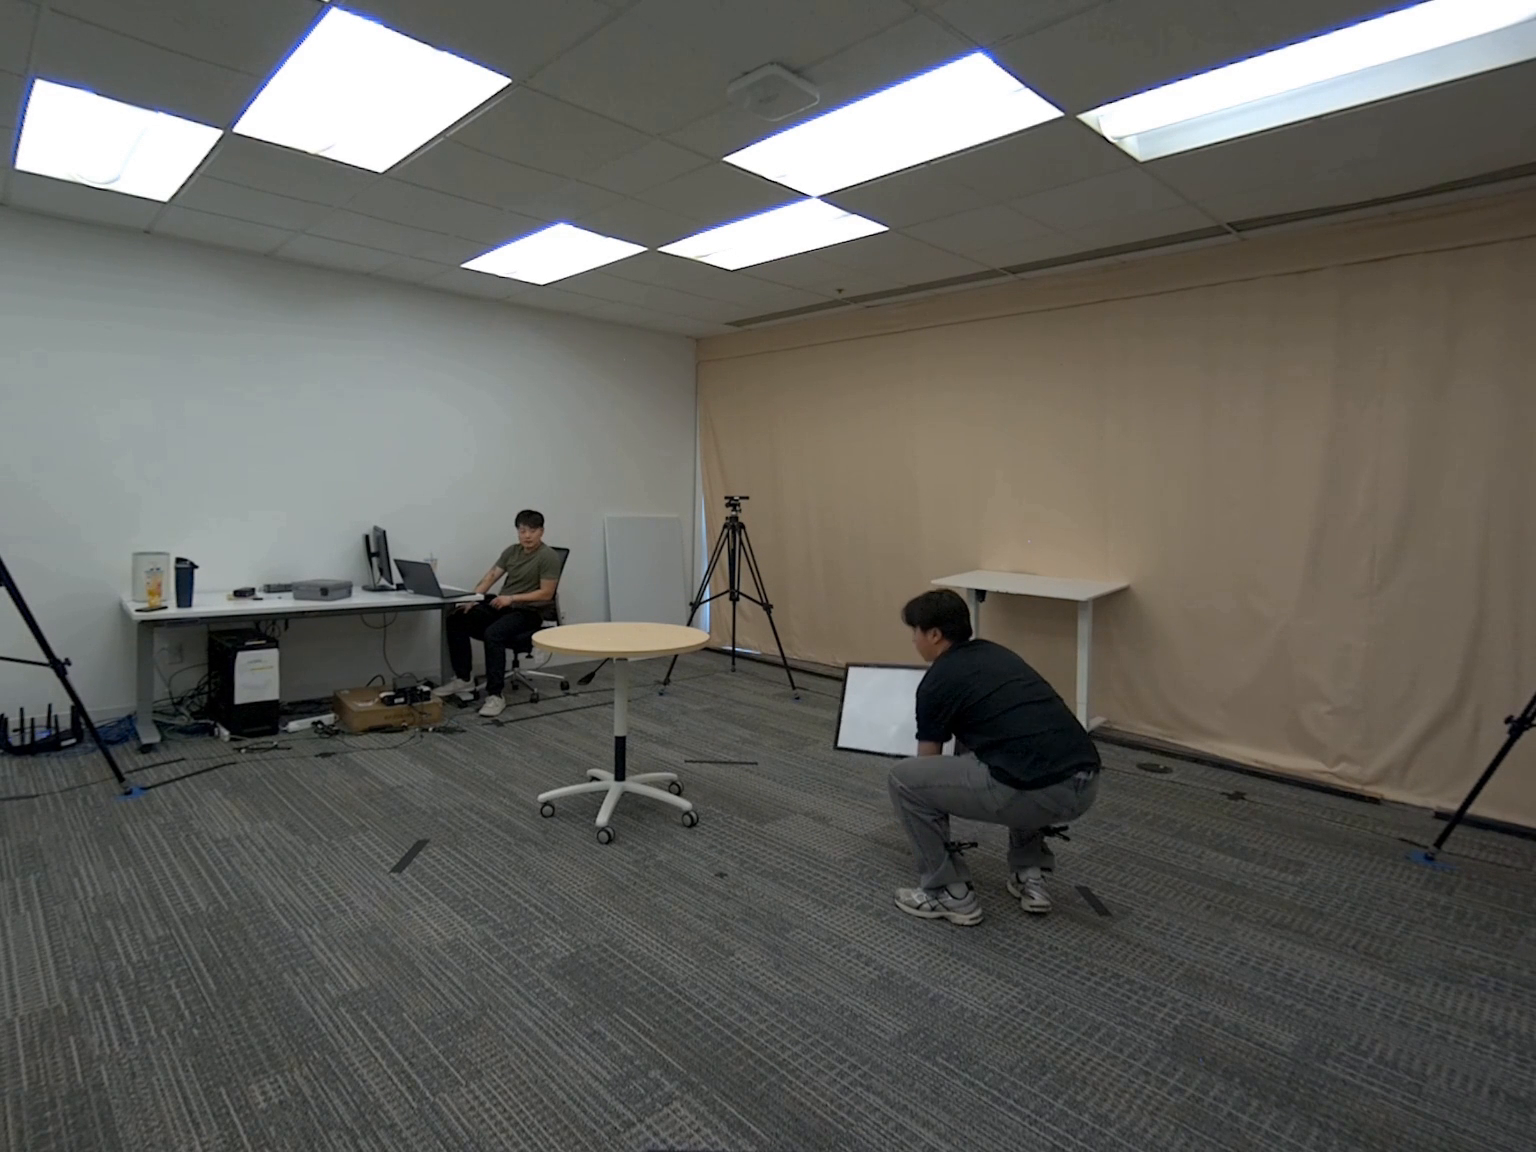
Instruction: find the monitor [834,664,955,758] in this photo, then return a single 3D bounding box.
[{"bbox_3d":[0.525,0.622,3.305,0.217,0.567,0.574,2,-5,-45],"label":"monitor"}]
